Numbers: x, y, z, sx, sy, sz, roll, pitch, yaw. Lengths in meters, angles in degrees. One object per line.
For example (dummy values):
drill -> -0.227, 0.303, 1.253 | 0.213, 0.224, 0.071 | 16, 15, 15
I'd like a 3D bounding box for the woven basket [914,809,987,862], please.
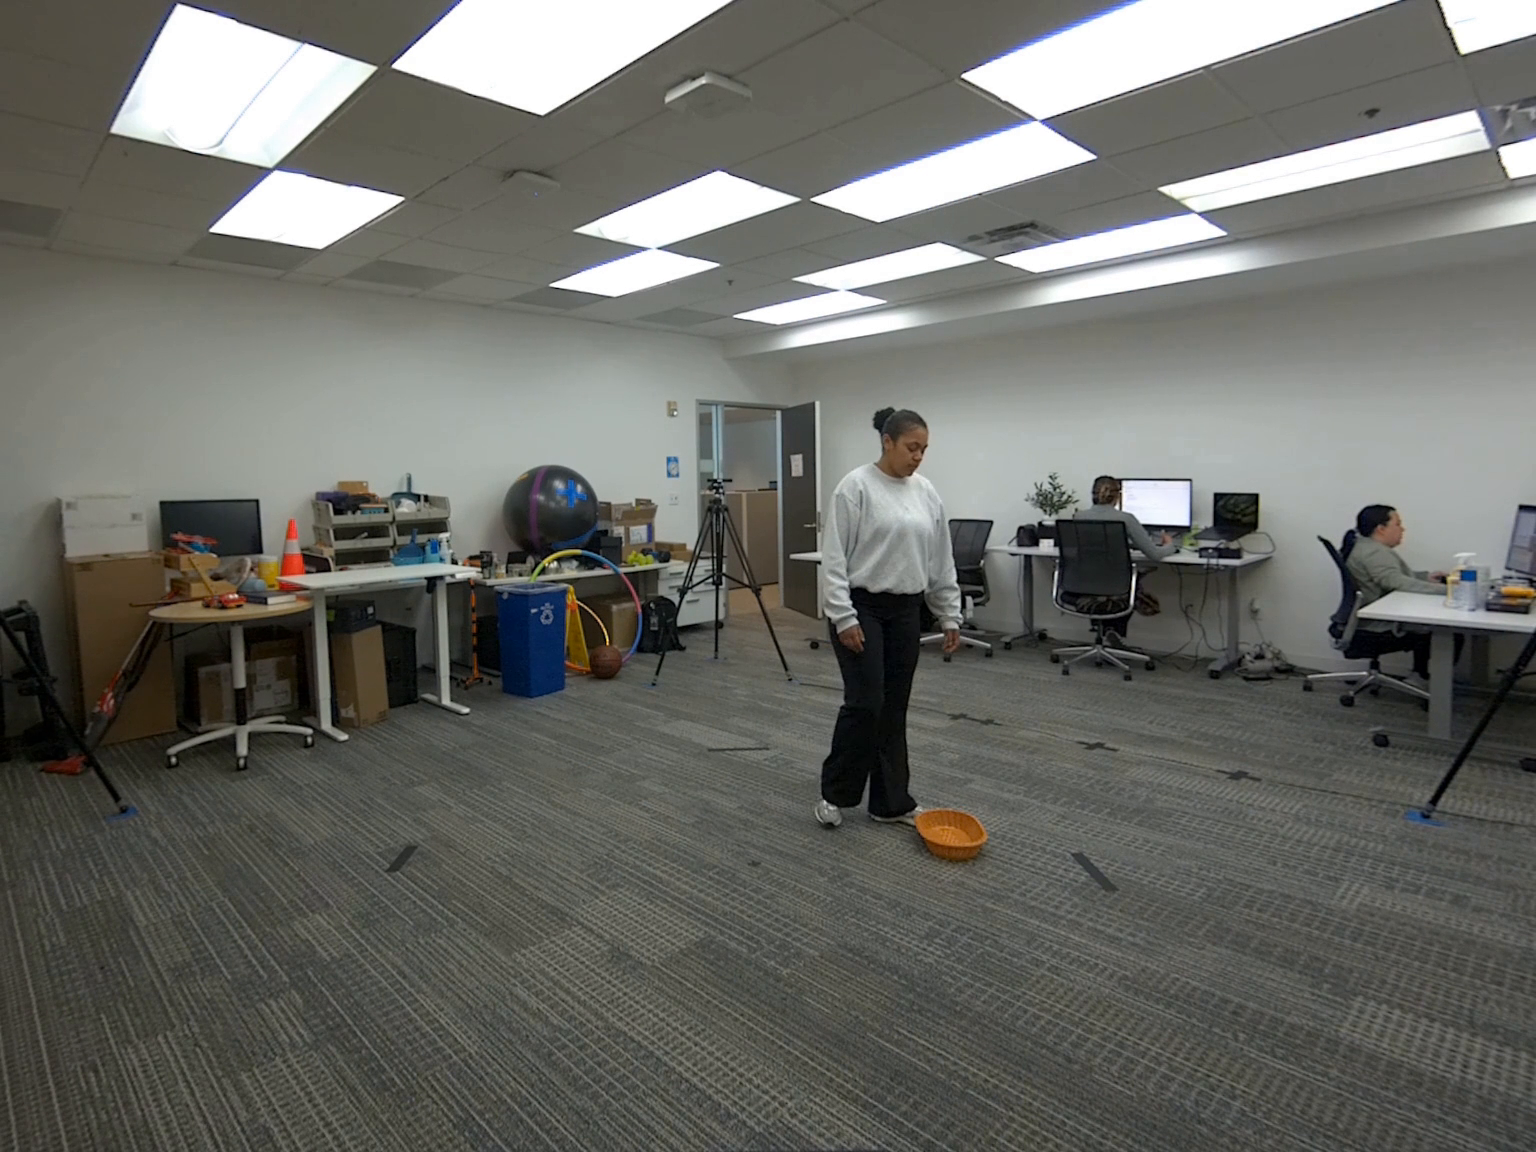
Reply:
woven basket -> 0.685, 0.977, 3.242 | 0.253, 0.073, 0.350 | -1, 6, 4
